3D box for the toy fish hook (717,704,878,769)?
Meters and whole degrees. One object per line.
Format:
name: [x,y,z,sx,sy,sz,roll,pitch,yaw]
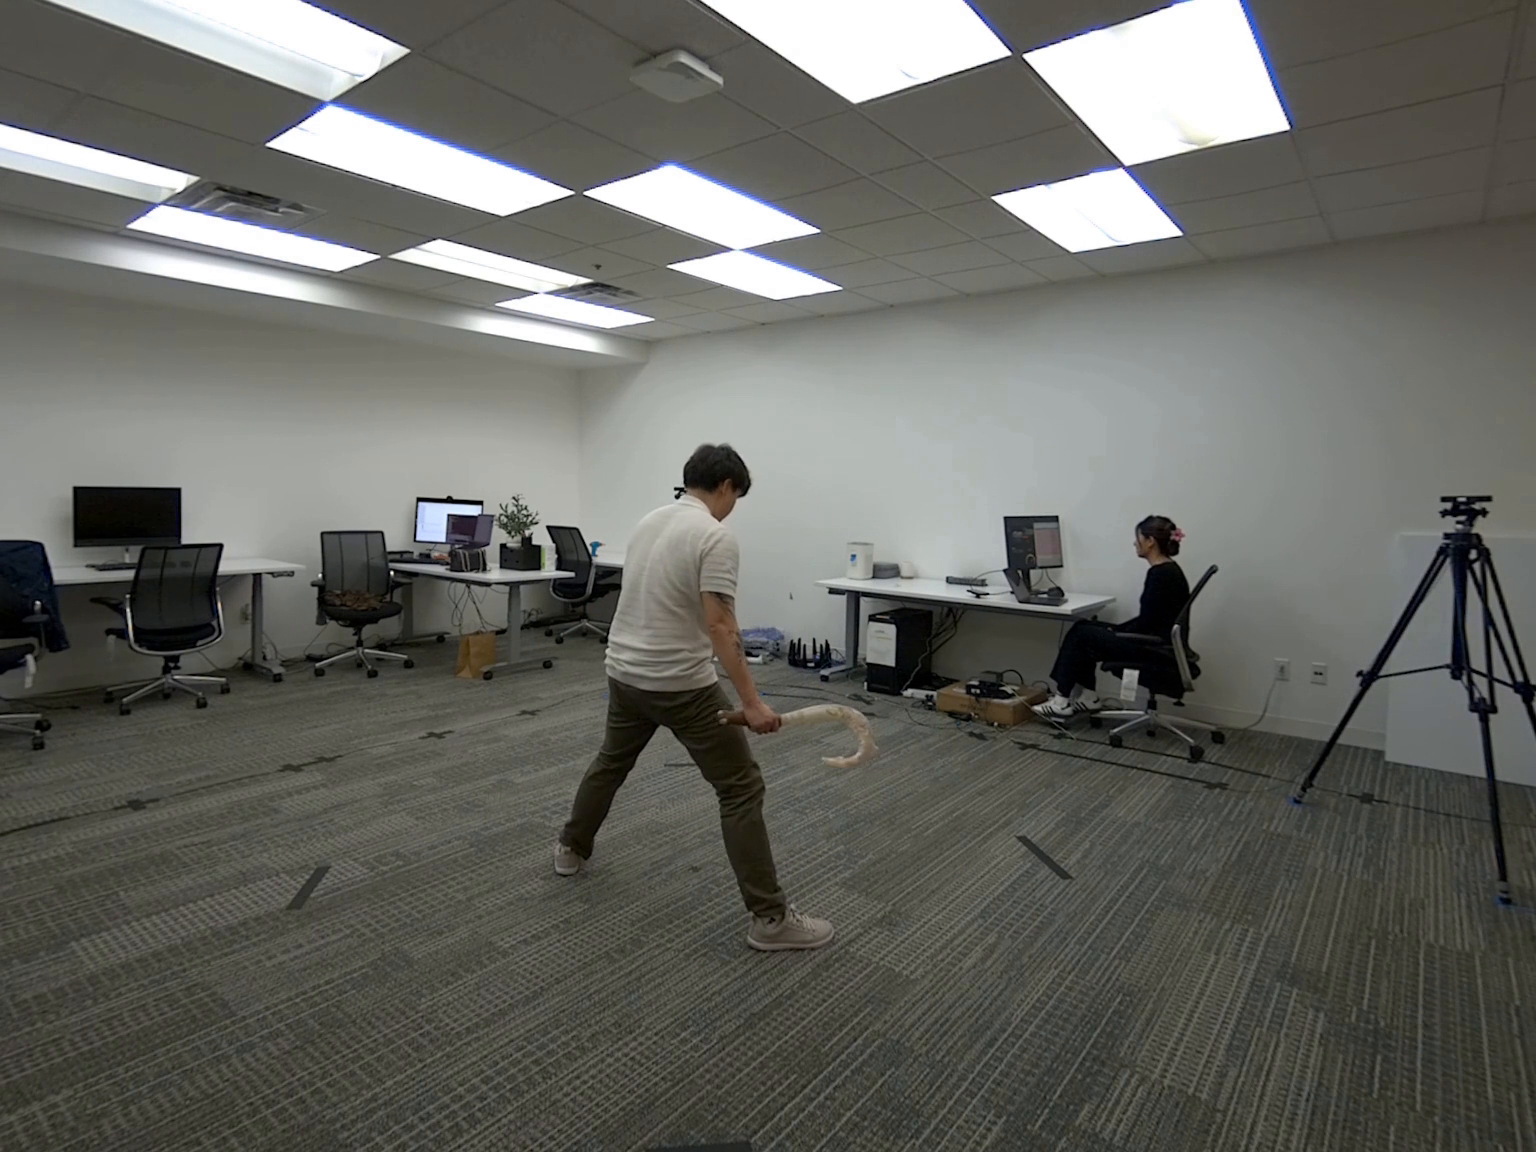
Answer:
toy fish hook: [0.097,0.488,2.587,0.498,0.047,0.232,4,41,-15]
